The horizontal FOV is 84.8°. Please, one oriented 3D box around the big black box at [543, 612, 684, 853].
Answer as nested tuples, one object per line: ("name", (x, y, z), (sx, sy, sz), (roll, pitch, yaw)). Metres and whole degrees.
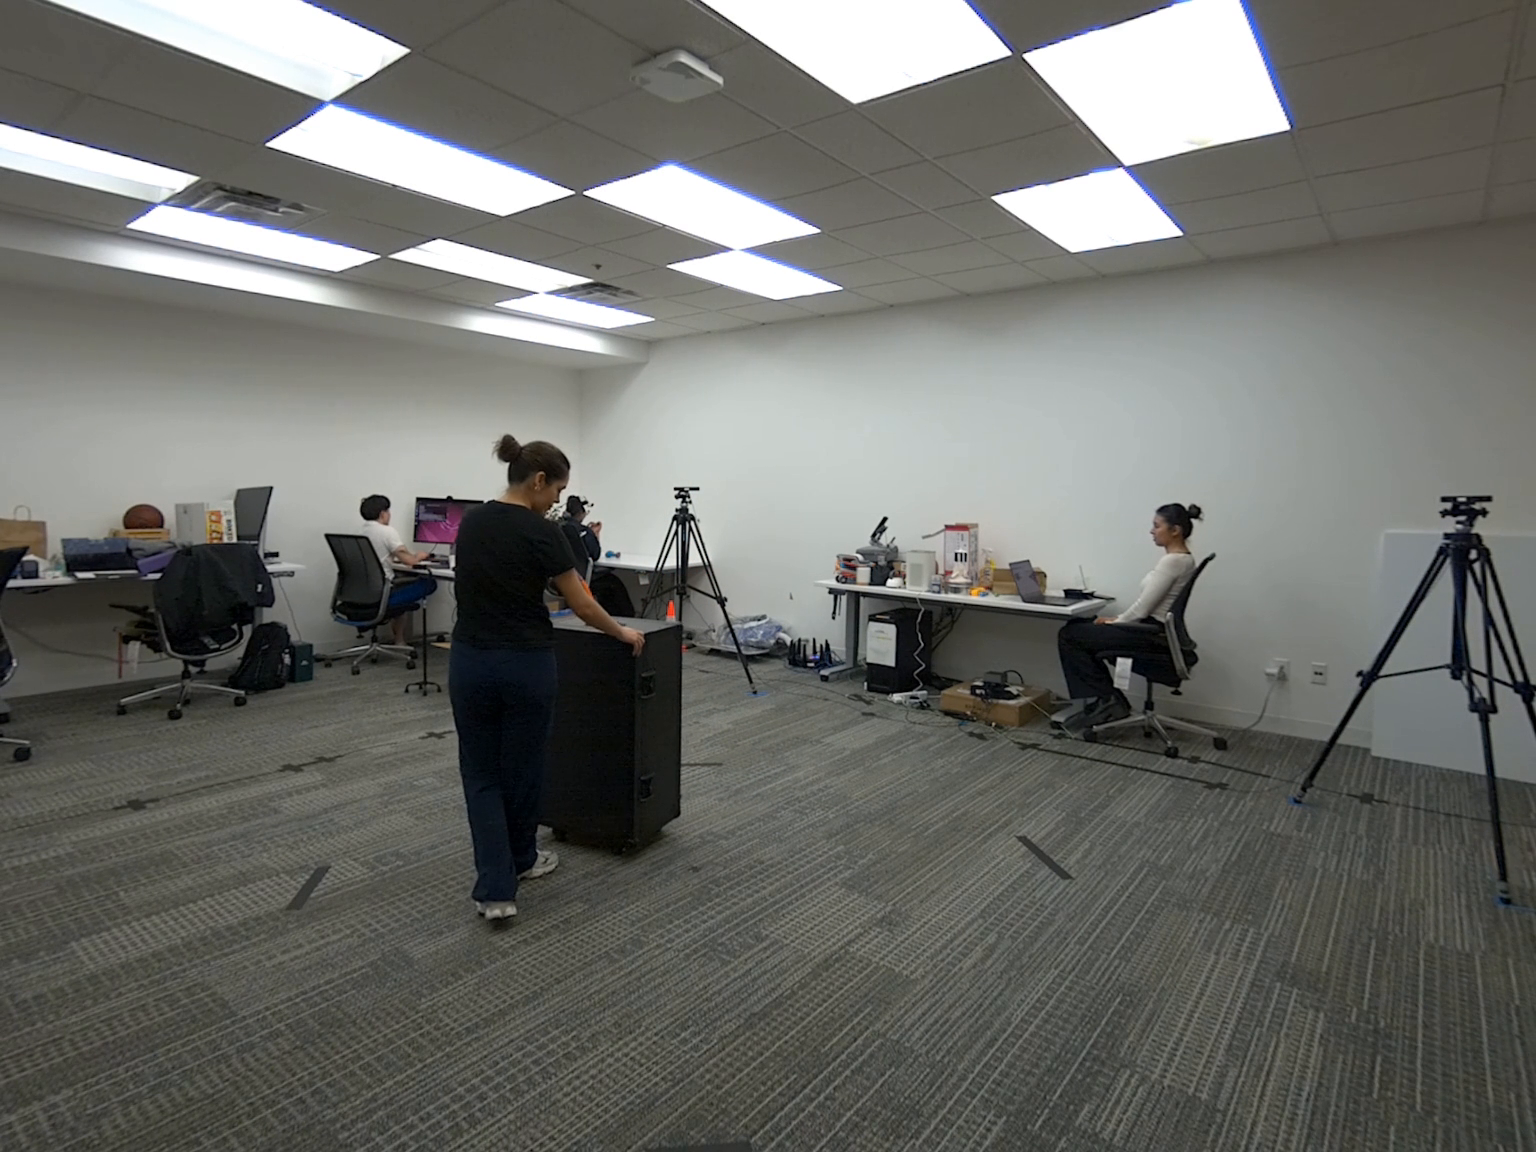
("big black box", (-0.617, 0.605, 3.389), (0.535, 0.860, 0.386), (2, 3, 27))
